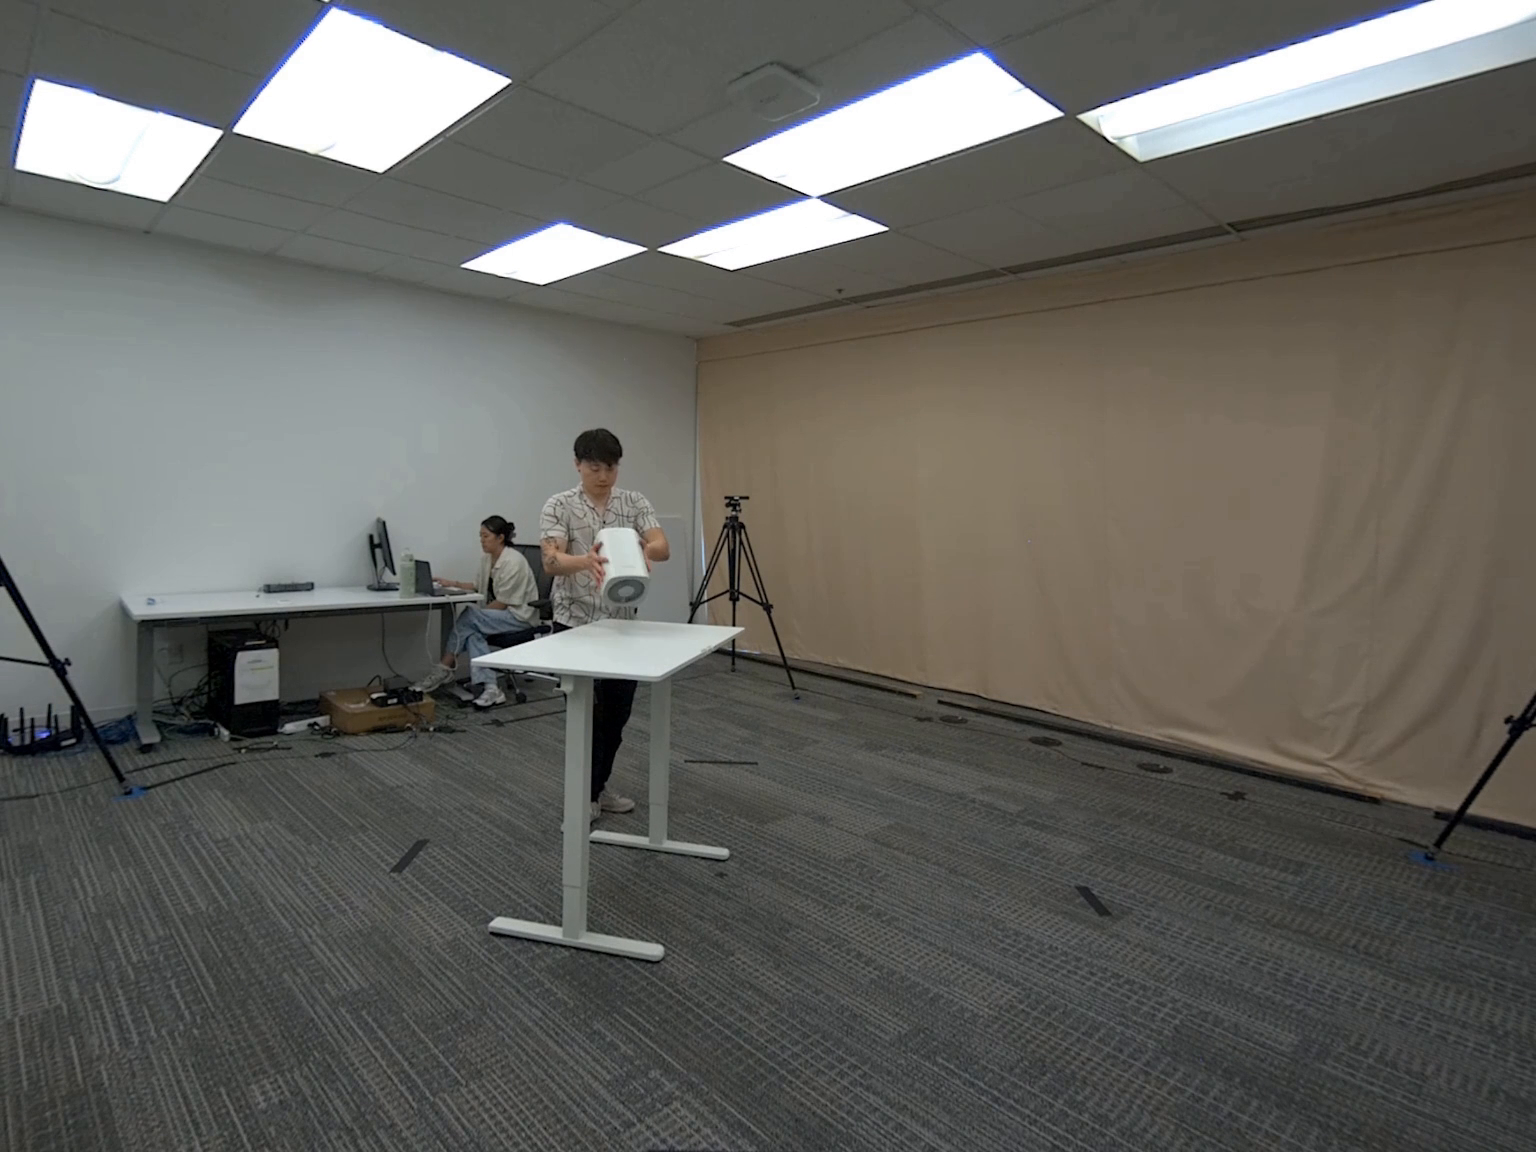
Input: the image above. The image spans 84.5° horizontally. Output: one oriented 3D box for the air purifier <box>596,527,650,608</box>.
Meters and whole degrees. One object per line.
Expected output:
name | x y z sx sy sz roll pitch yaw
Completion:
air purifier | -0.570 -0.034 3.187 0.168 0.169 0.273 -3 49 -22
